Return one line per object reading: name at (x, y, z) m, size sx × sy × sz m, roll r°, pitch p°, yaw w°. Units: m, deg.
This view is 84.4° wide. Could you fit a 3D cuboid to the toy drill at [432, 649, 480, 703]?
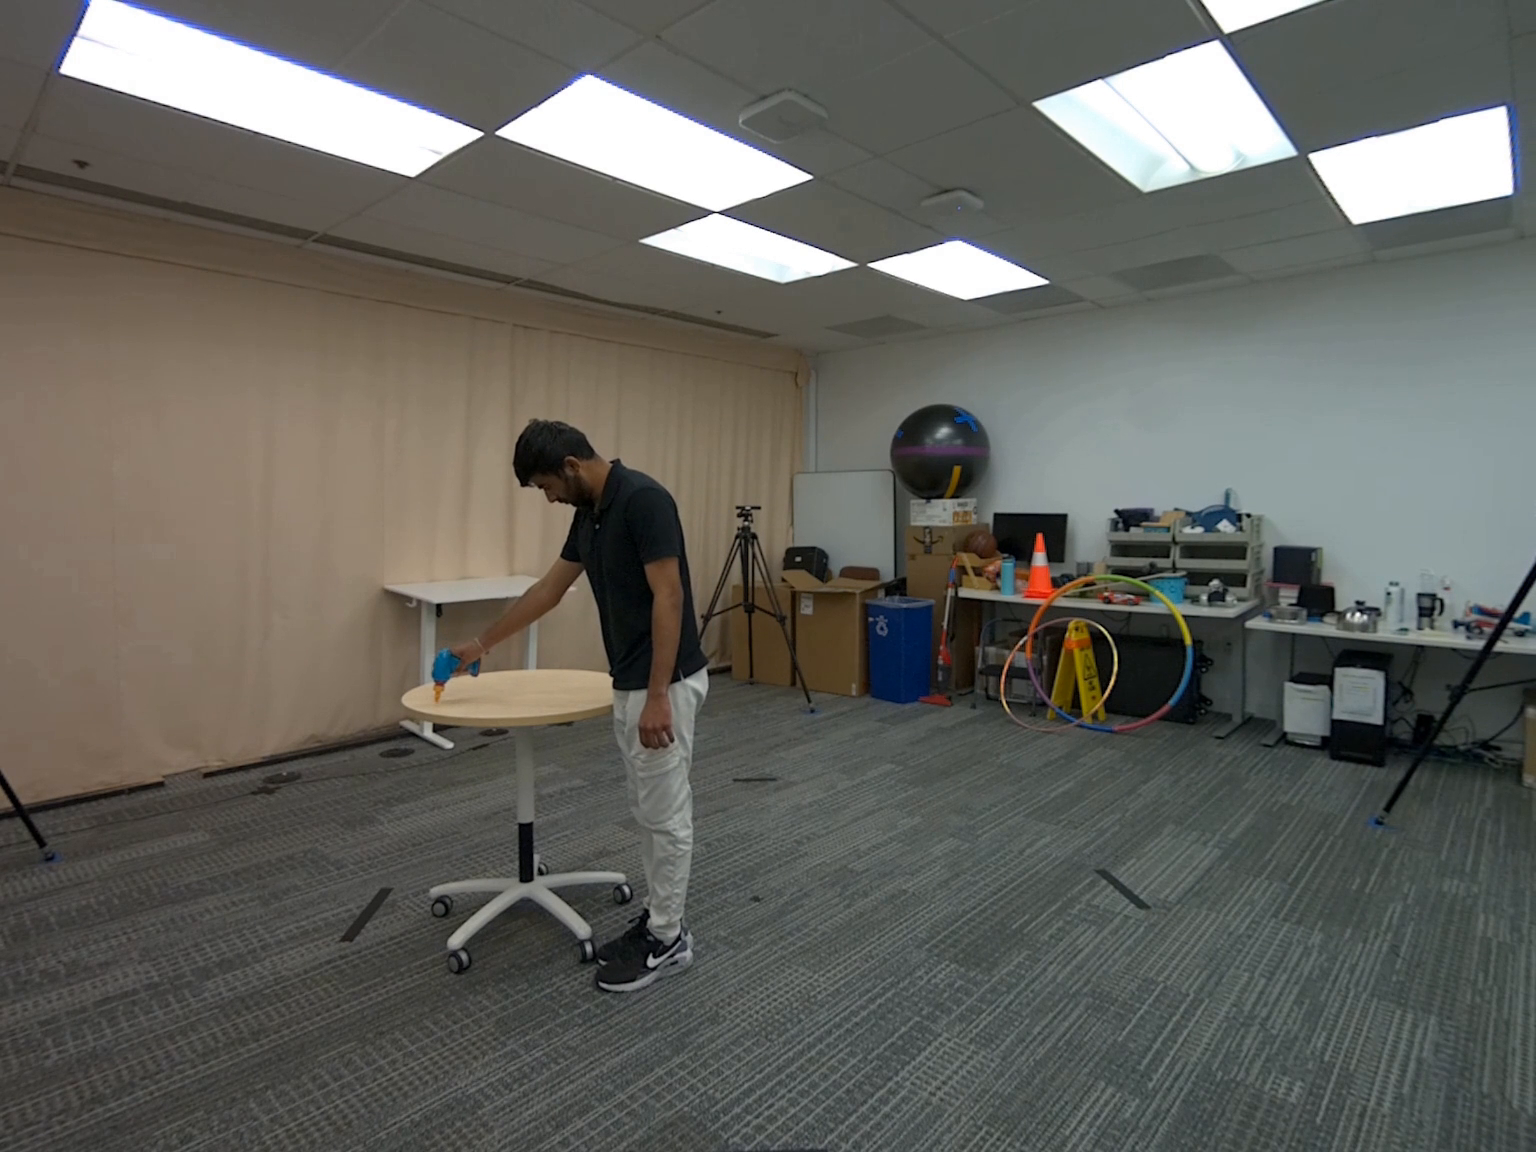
toy drill at (-0.994, 0.316, 2.667) m, size 0.141 × 0.170 × 0.063 m, roll 9°, pitch -4°, yaw -37°
